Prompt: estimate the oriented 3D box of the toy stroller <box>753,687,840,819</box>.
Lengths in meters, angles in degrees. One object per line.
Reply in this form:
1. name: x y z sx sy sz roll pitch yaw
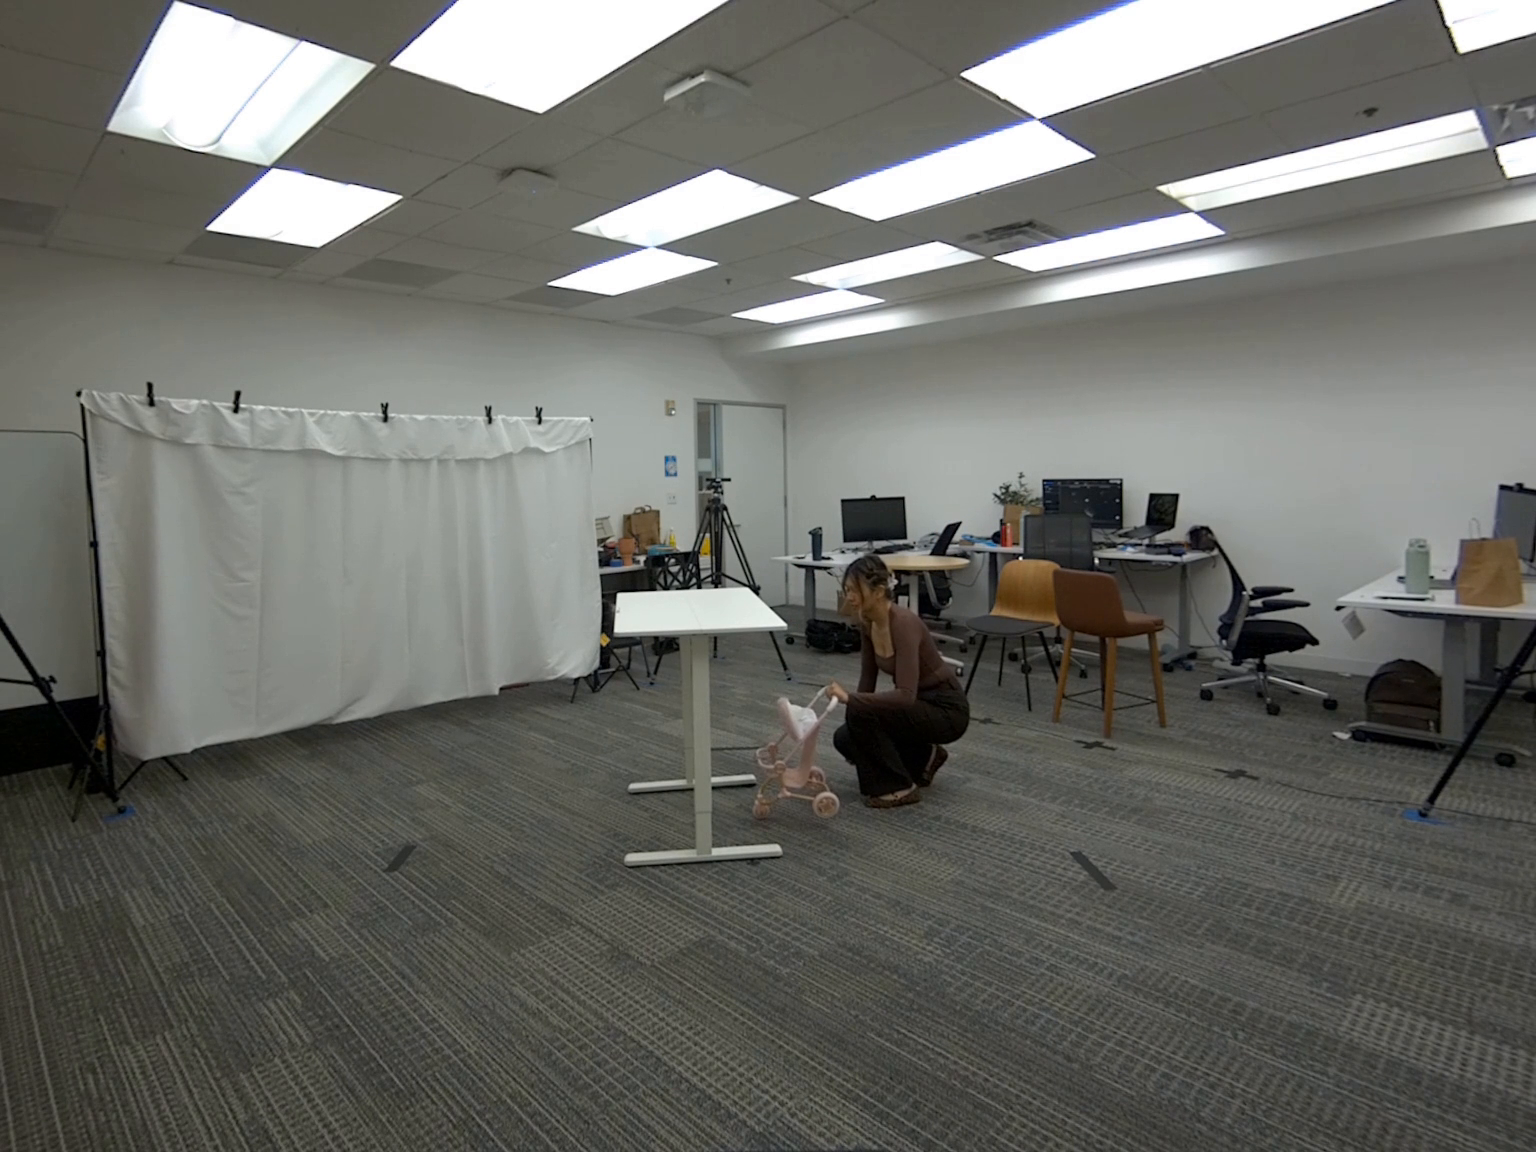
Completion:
1. toy stroller: 0.105 0.729 3.483 0.341 0.531 0.284 1 9 -2
